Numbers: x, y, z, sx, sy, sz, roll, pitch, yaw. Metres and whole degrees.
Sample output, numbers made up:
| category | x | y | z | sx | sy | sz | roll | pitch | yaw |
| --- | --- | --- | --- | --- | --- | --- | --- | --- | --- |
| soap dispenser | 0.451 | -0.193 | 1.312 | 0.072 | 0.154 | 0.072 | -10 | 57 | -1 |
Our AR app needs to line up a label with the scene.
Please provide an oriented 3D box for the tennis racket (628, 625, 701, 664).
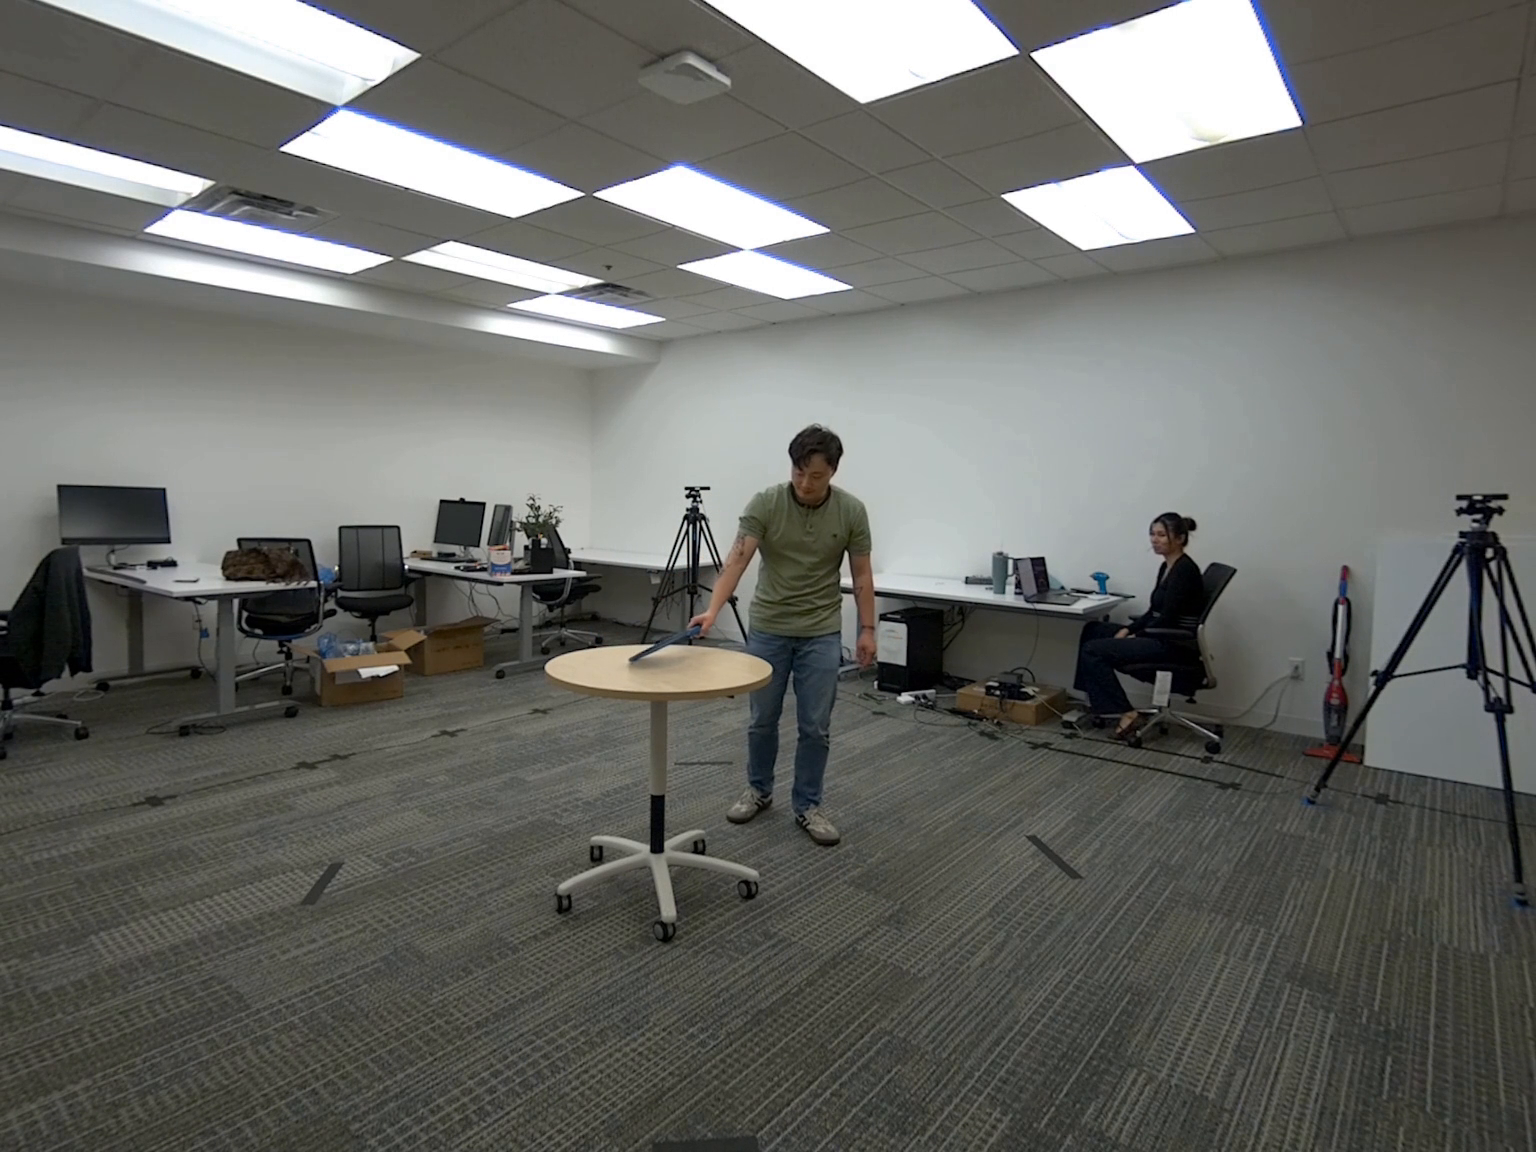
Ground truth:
| category | x | y | z | sx | sy | sz | roll | pitch | yaw |
| --- | --- | --- | --- | --- | --- | --- | --- | --- | --- |
| tennis racket | -0.360 | 0.227 | 3.005 | 0.216 | 0.032 | 0.425 | -28 | -3 | 32 |
